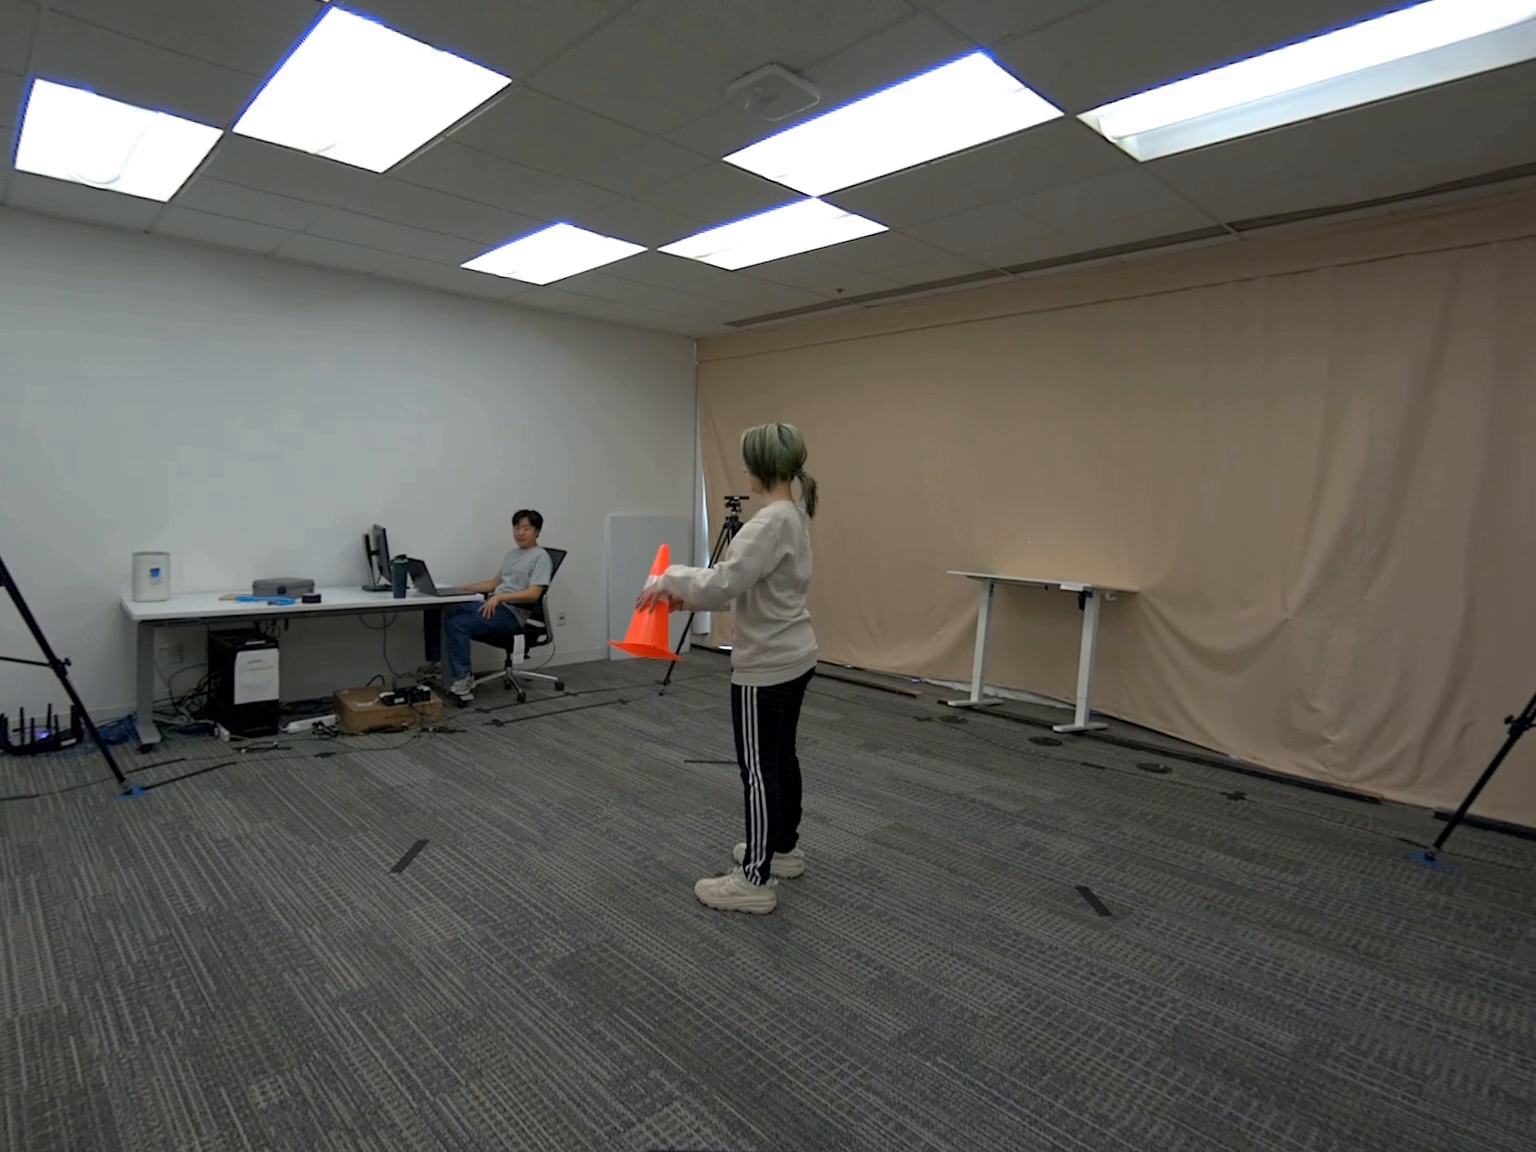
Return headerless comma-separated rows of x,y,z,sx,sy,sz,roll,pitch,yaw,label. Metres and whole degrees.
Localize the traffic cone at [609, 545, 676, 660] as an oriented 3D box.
-0.384,0.072,2.901,0.207,0.388,0.198,-2,-22,31,traffic cone
